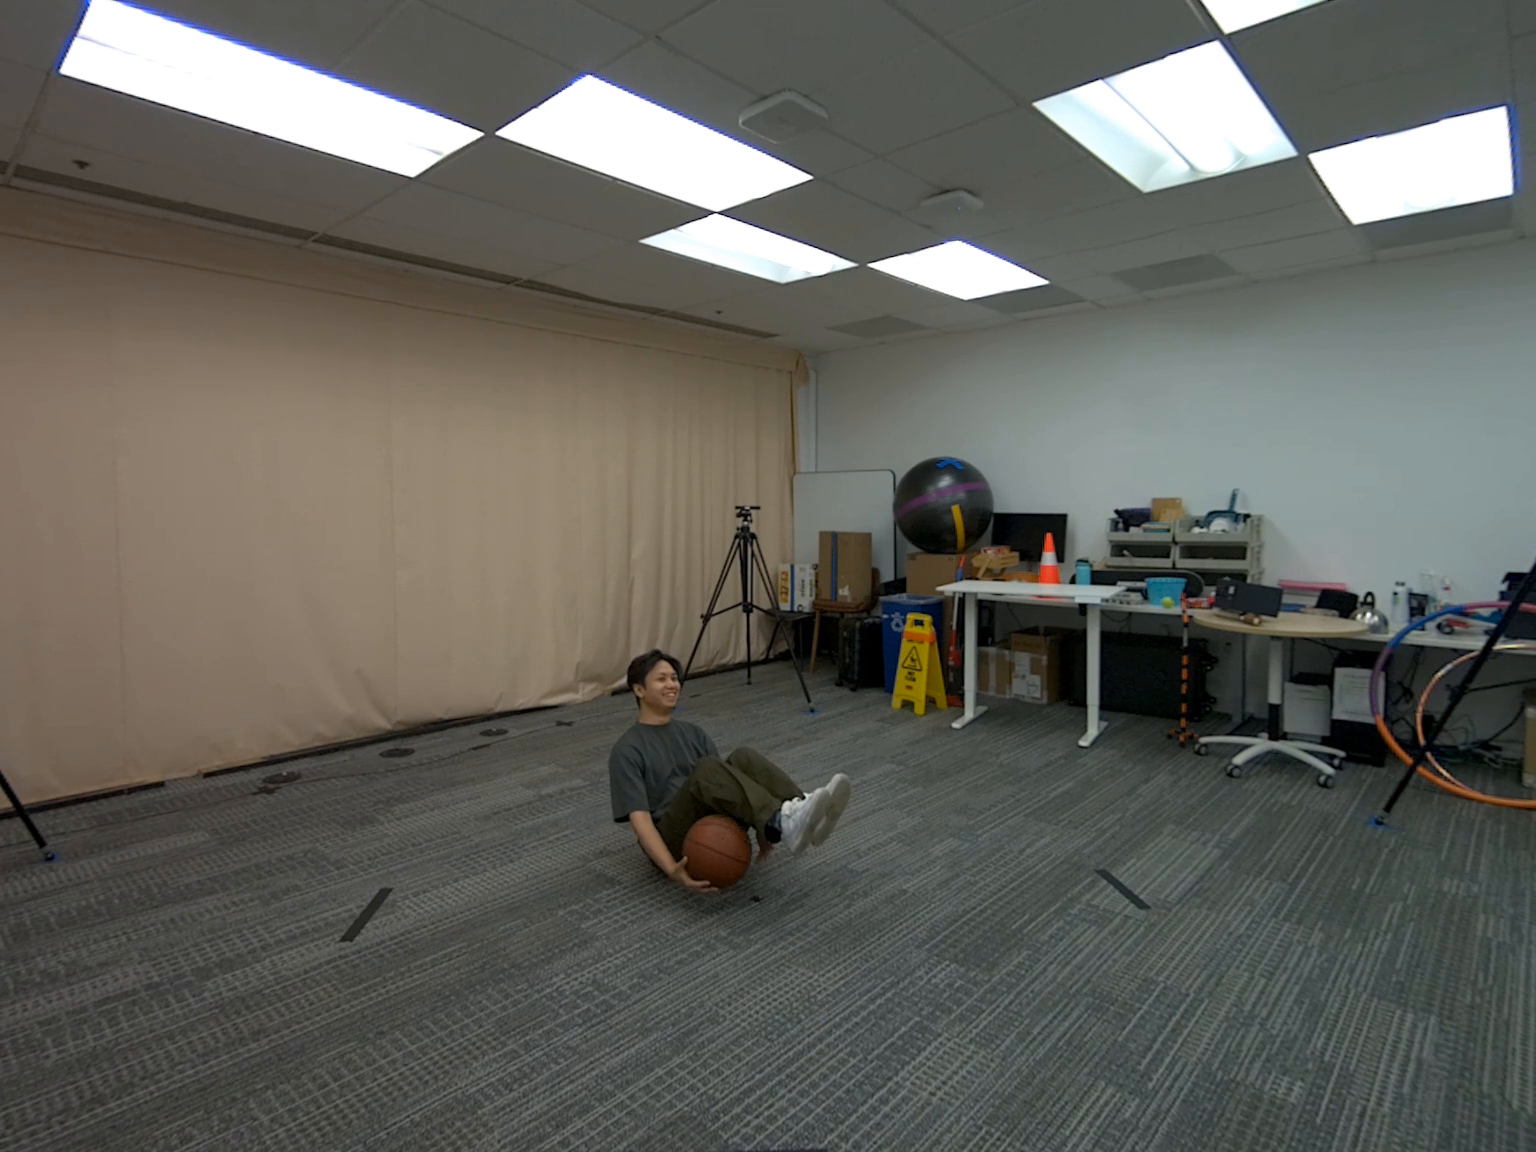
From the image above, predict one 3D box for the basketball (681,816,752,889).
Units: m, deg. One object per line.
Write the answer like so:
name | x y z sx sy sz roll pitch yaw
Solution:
basketball | -0.172 0.937 2.917 0.236 0.235 0.237 0 4 -2
